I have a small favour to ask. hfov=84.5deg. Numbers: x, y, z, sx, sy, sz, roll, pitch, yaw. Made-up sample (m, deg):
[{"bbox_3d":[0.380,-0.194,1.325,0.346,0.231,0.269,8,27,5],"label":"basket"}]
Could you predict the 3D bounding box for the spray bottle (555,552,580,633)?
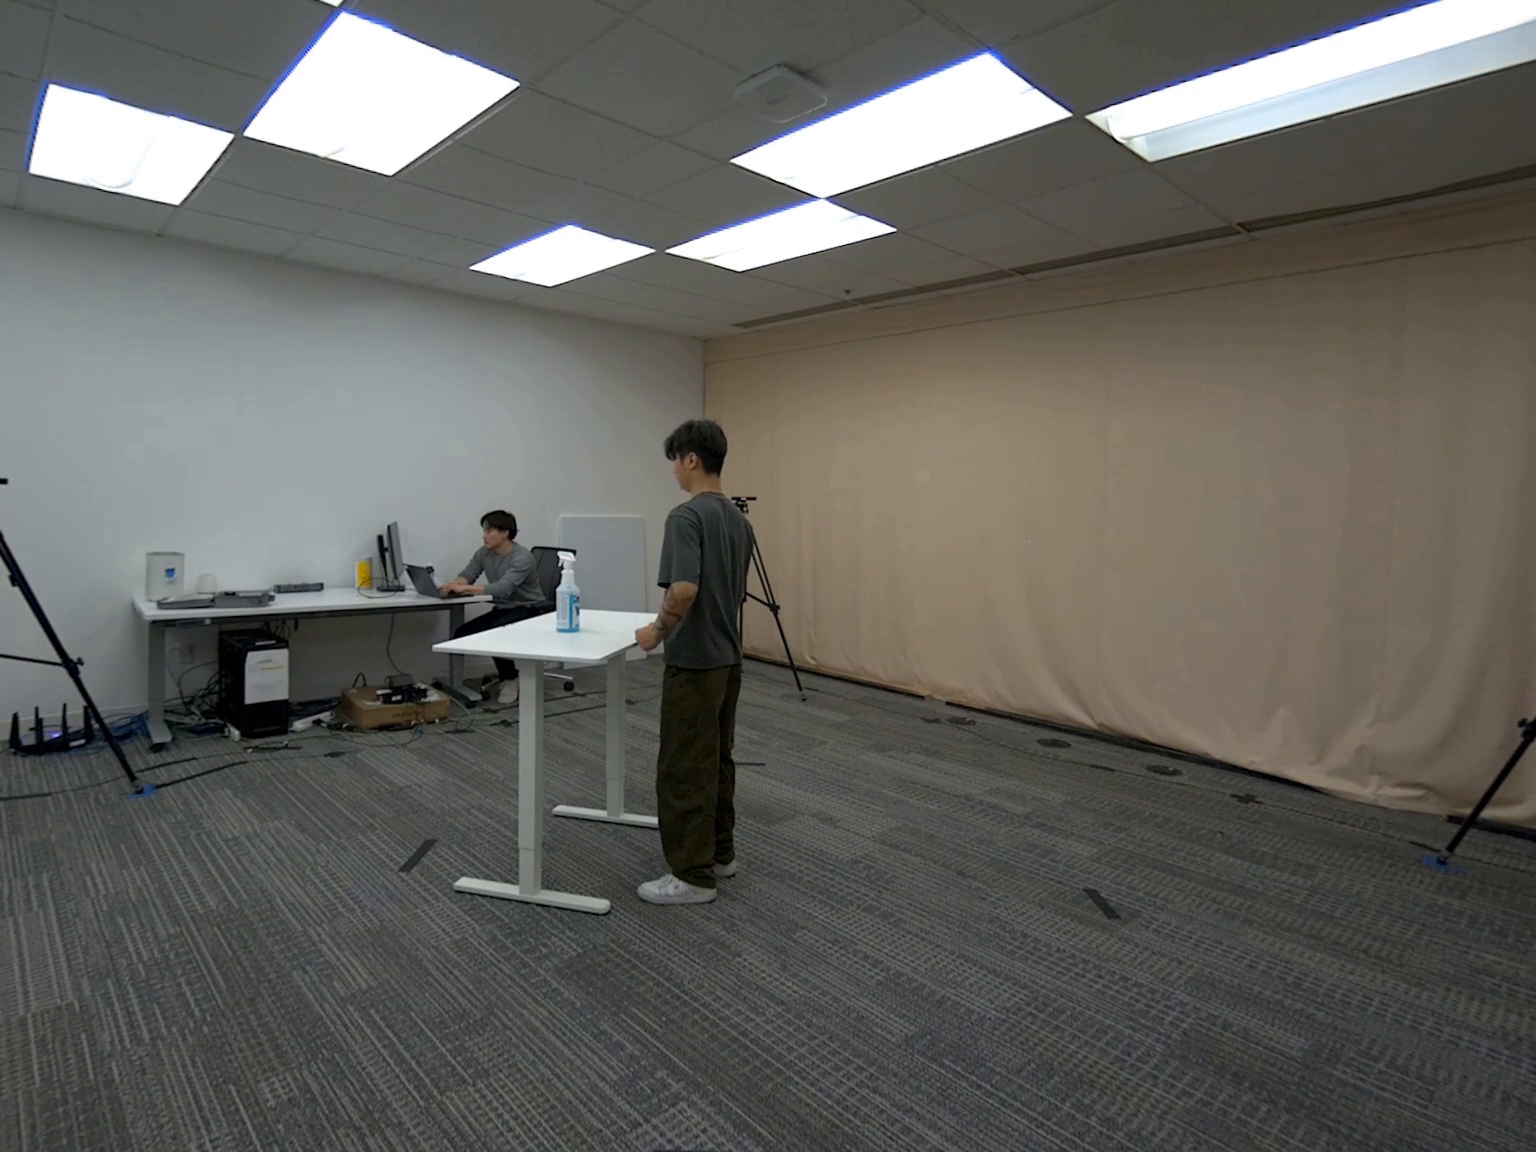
[{"bbox_3d":[-0.752,0.062,3.145,0.085,0.296,0.092,-2,5,-30],"label":"spray bottle"}]
